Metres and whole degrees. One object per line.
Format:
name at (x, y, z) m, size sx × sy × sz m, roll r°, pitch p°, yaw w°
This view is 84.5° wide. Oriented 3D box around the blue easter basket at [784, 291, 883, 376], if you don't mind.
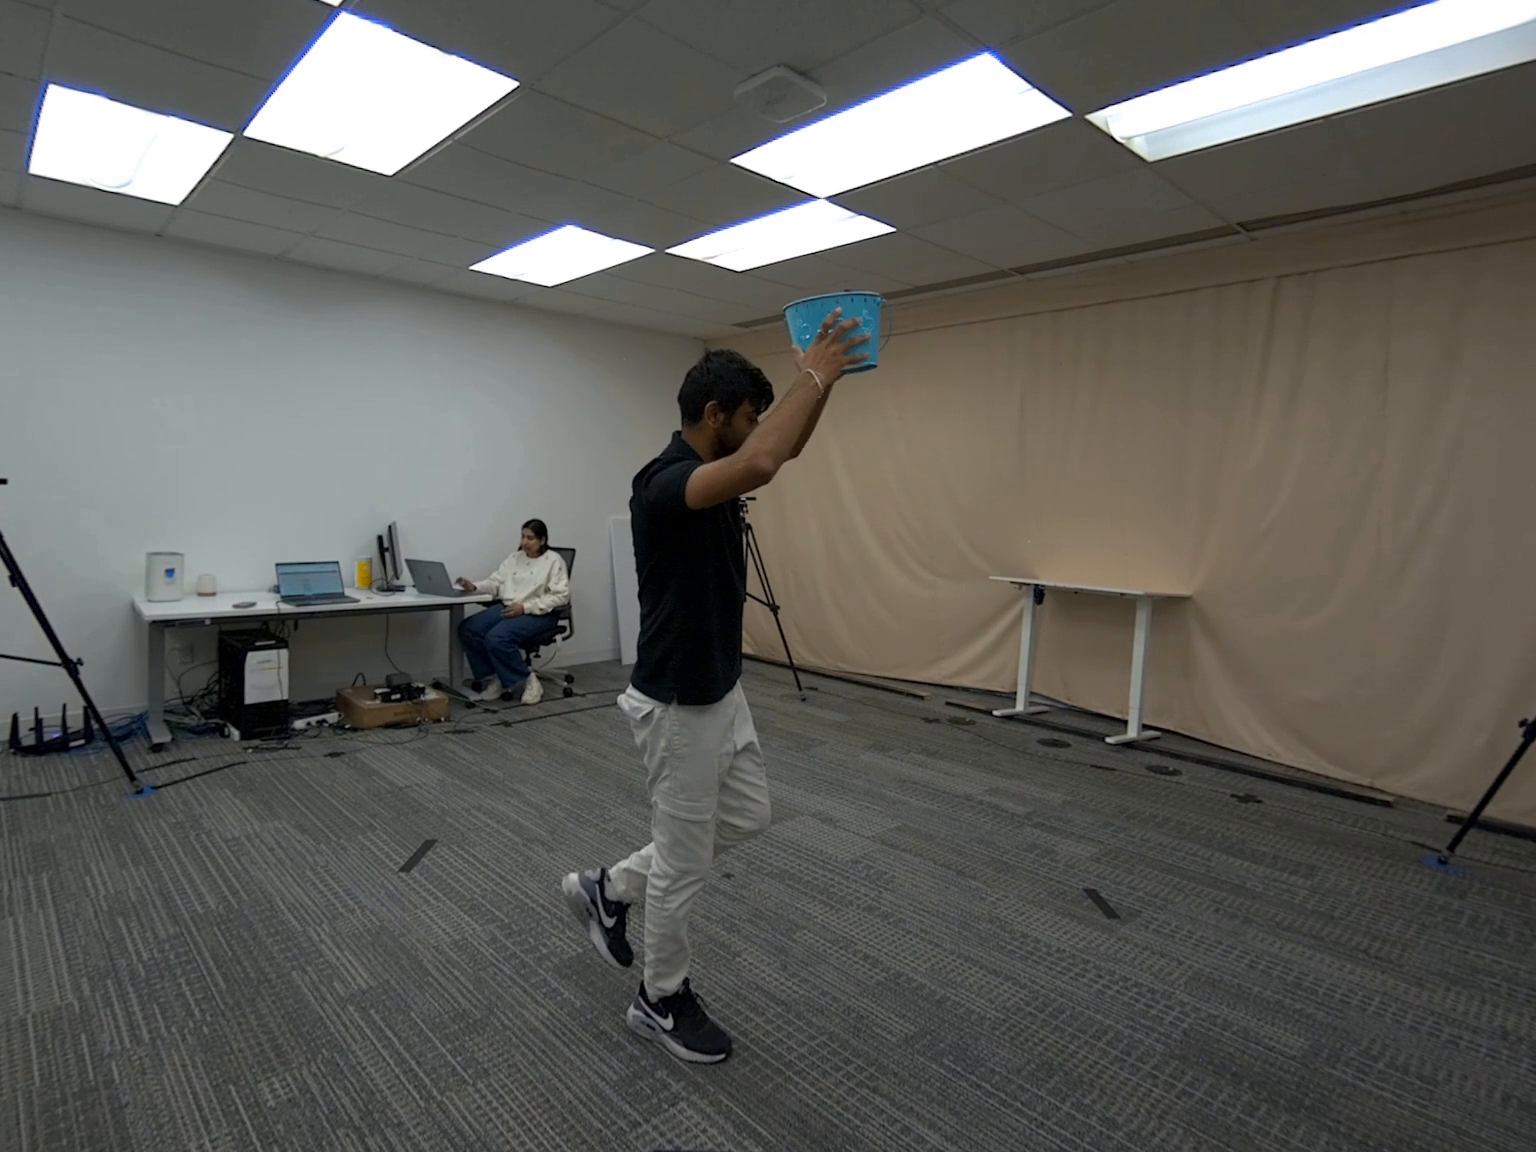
blue easter basket at (0.154, -0.554, 1.923) m, size 0.243 × 0.155 × 0.244 m, roll -7°, pitch 4°, yaw -1°
